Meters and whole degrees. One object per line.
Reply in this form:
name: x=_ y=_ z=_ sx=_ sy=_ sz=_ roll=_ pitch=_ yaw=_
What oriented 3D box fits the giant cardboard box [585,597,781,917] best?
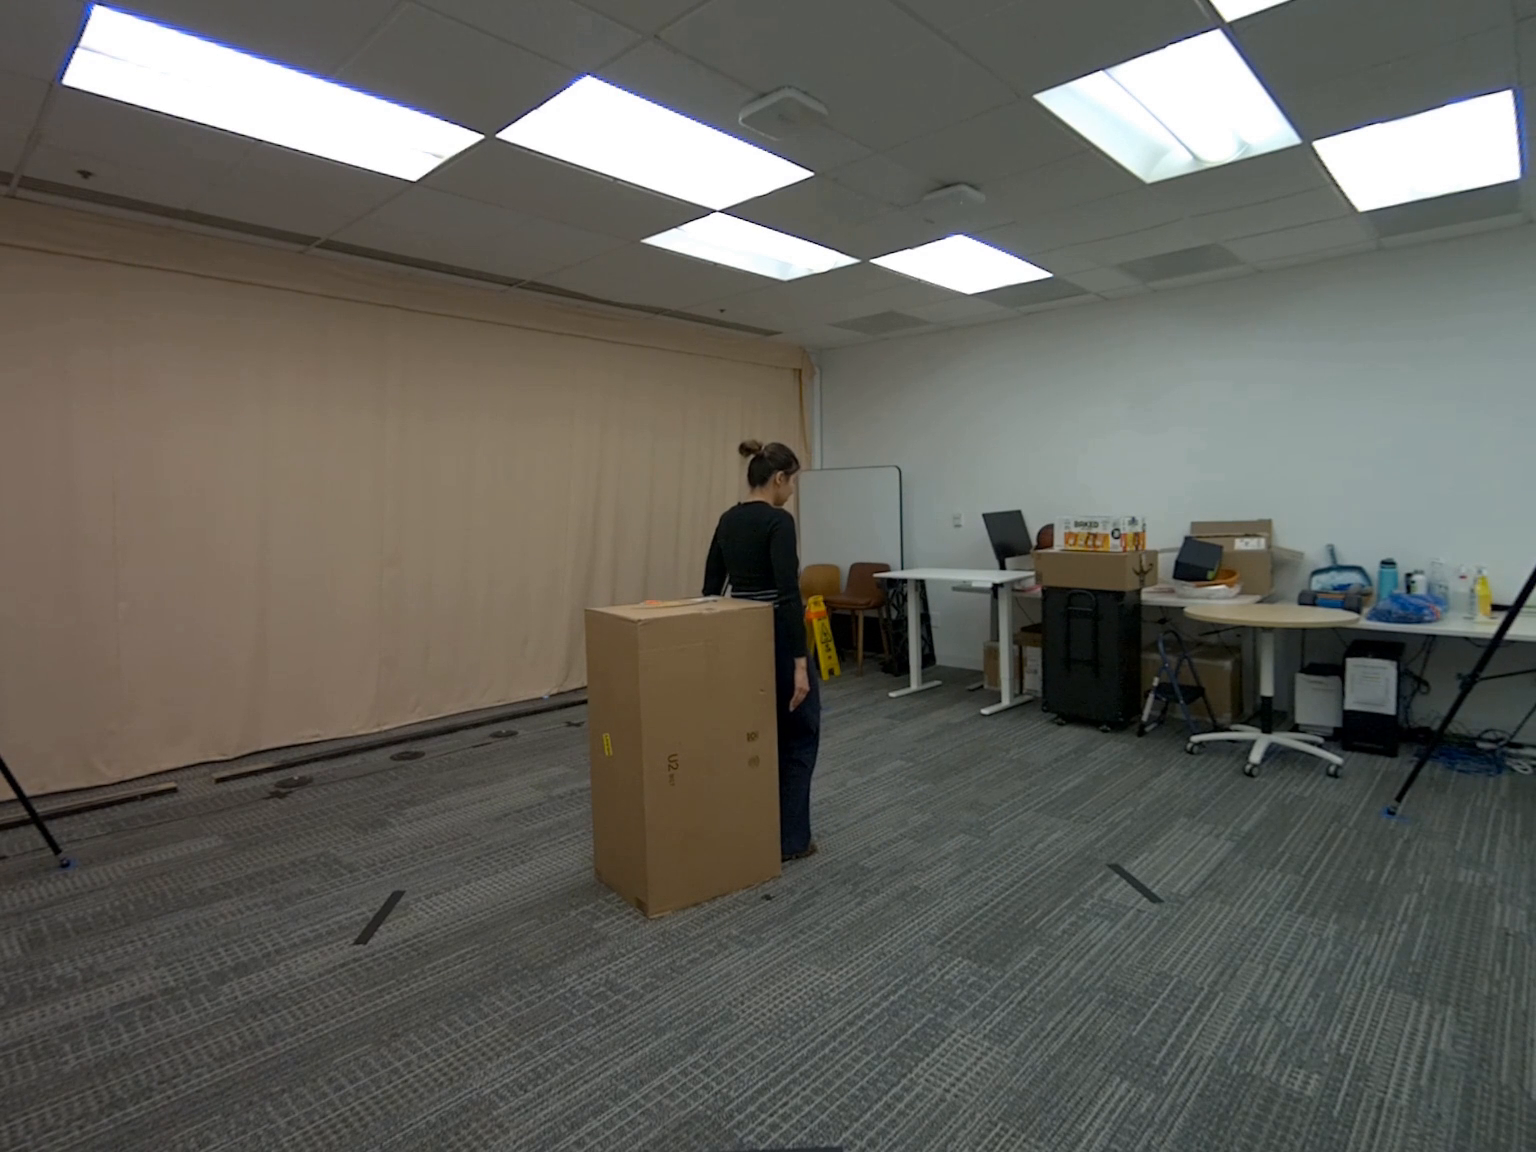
giant cardboard box: x=-0.321 y=0.623 z=3.135 sx=0.561 sy=1.023 sz=0.439 roll=-4 pitch=4 yaw=-35
